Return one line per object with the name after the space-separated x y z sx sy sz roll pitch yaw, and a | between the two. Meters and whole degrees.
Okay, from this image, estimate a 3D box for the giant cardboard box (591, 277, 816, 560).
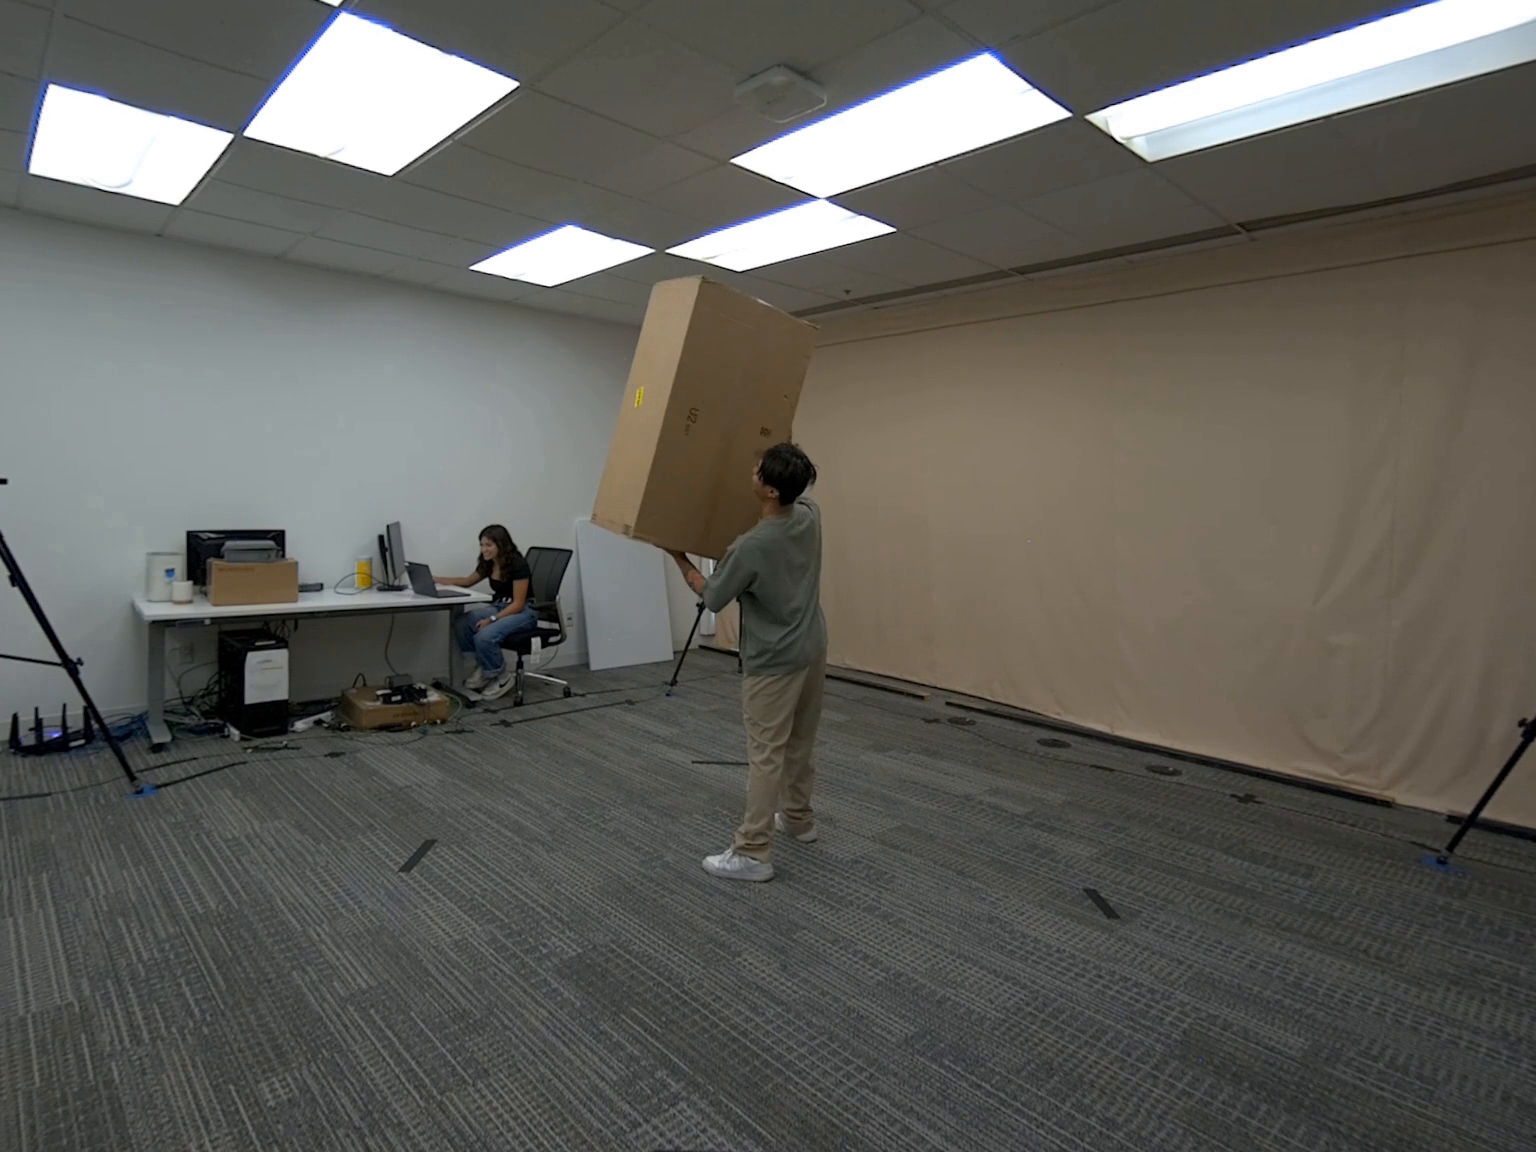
-0.273 -0.611 3.467 0.562 1.024 0.438 14 3 -34 | giant cardboard box
